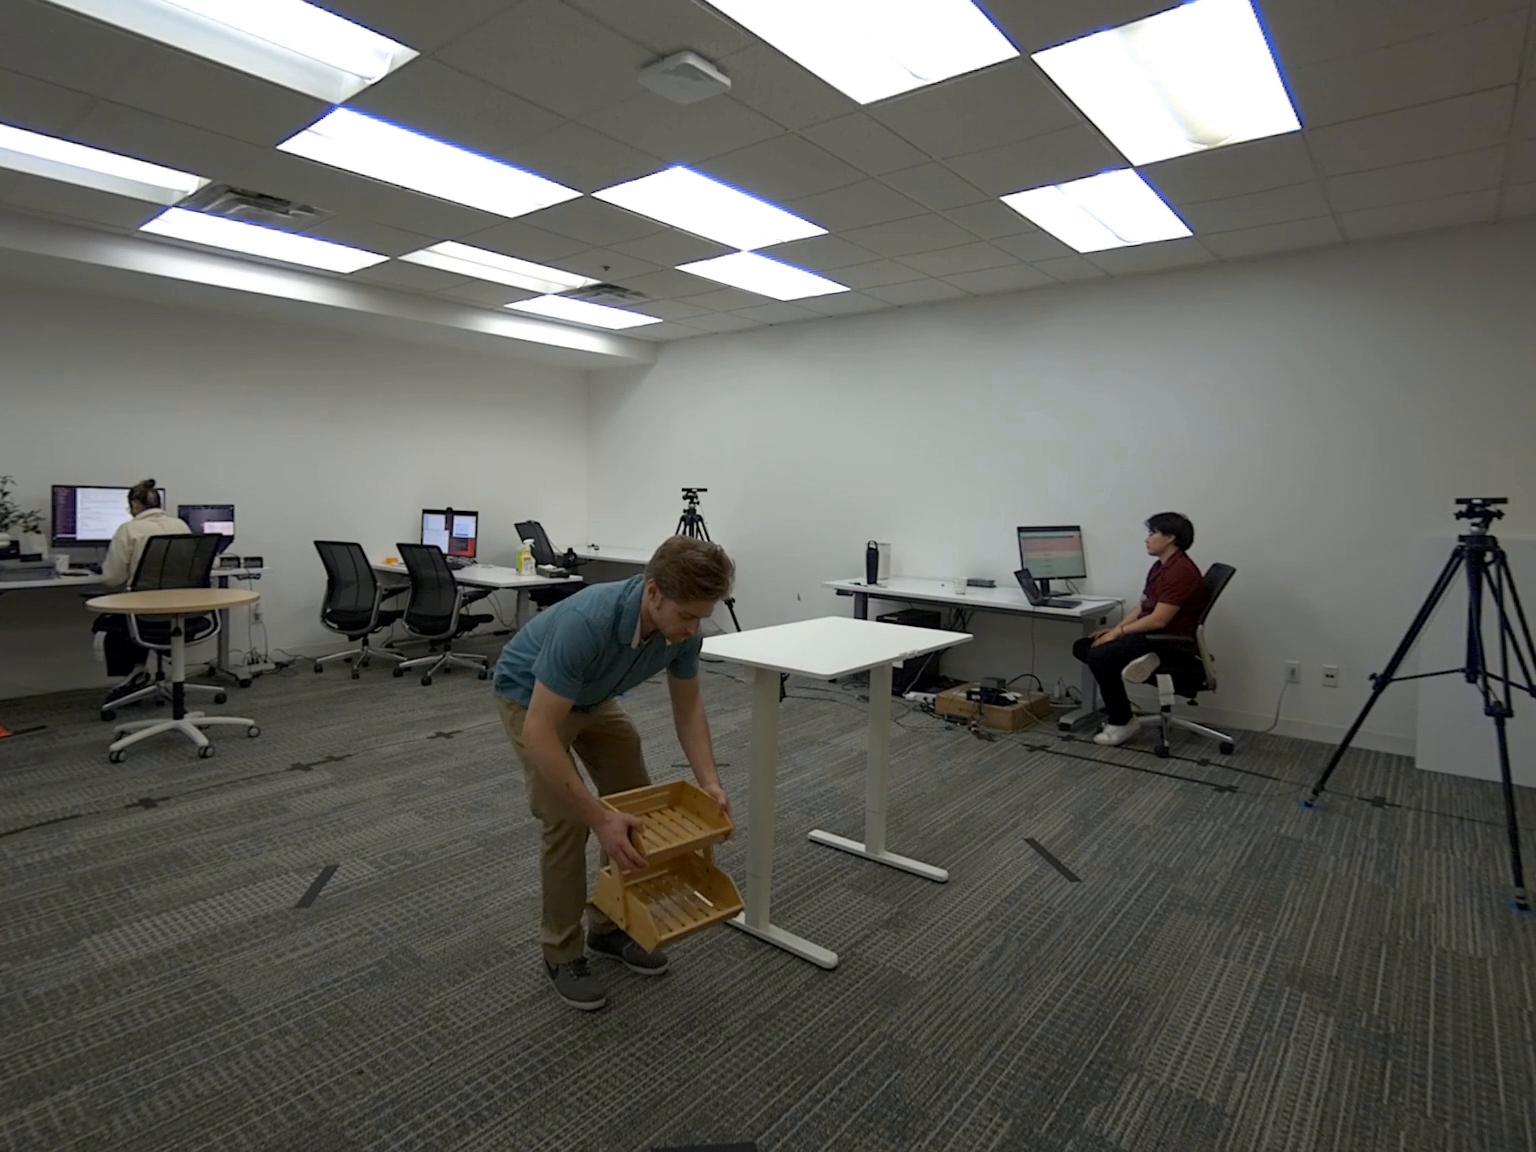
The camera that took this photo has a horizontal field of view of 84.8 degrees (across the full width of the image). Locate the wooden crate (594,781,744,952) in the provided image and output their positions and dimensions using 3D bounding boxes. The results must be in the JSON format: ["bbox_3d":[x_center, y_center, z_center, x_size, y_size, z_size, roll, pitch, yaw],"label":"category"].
[{"bbox_3d":[-0.246,0.724,2.175,0.314,0.271,0.314,17,11,40],"label":"wooden crate"}]
